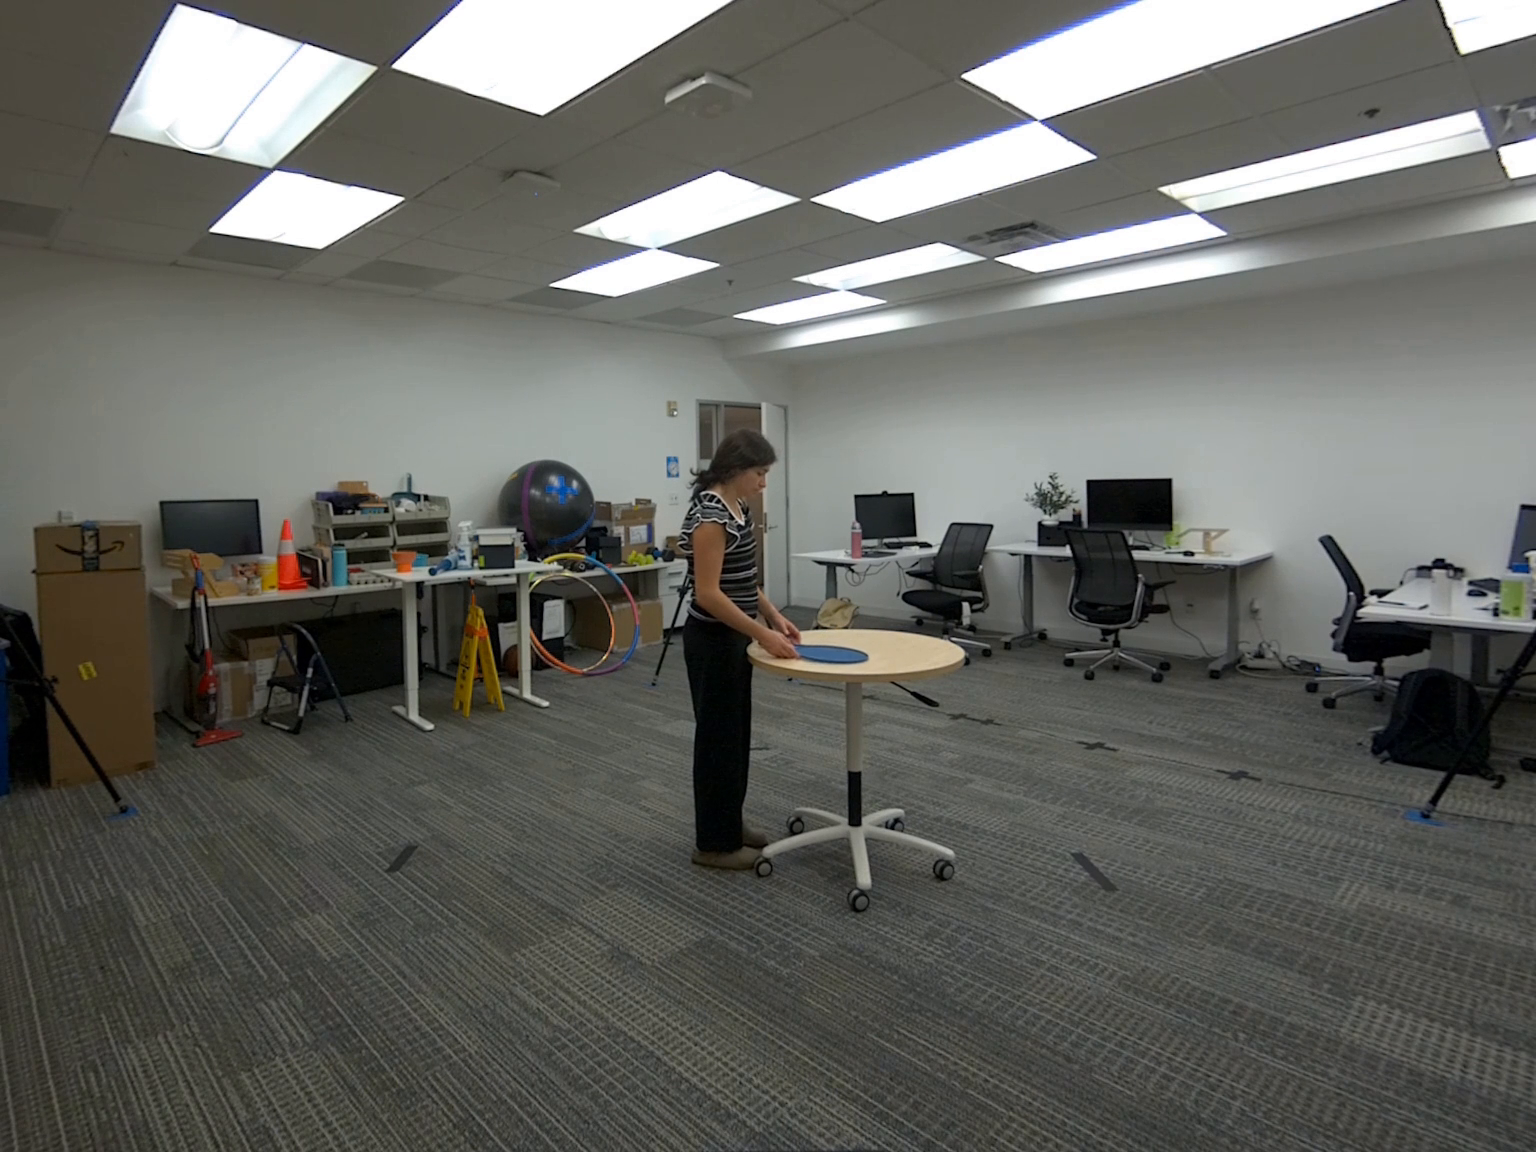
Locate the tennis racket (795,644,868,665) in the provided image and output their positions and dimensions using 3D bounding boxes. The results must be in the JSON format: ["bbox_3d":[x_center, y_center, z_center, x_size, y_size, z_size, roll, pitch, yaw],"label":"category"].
[{"bbox_3d":[0.151,0.258,2.981,0.446,0.031,0.208,6,7,38],"label":"tennis racket"}]
